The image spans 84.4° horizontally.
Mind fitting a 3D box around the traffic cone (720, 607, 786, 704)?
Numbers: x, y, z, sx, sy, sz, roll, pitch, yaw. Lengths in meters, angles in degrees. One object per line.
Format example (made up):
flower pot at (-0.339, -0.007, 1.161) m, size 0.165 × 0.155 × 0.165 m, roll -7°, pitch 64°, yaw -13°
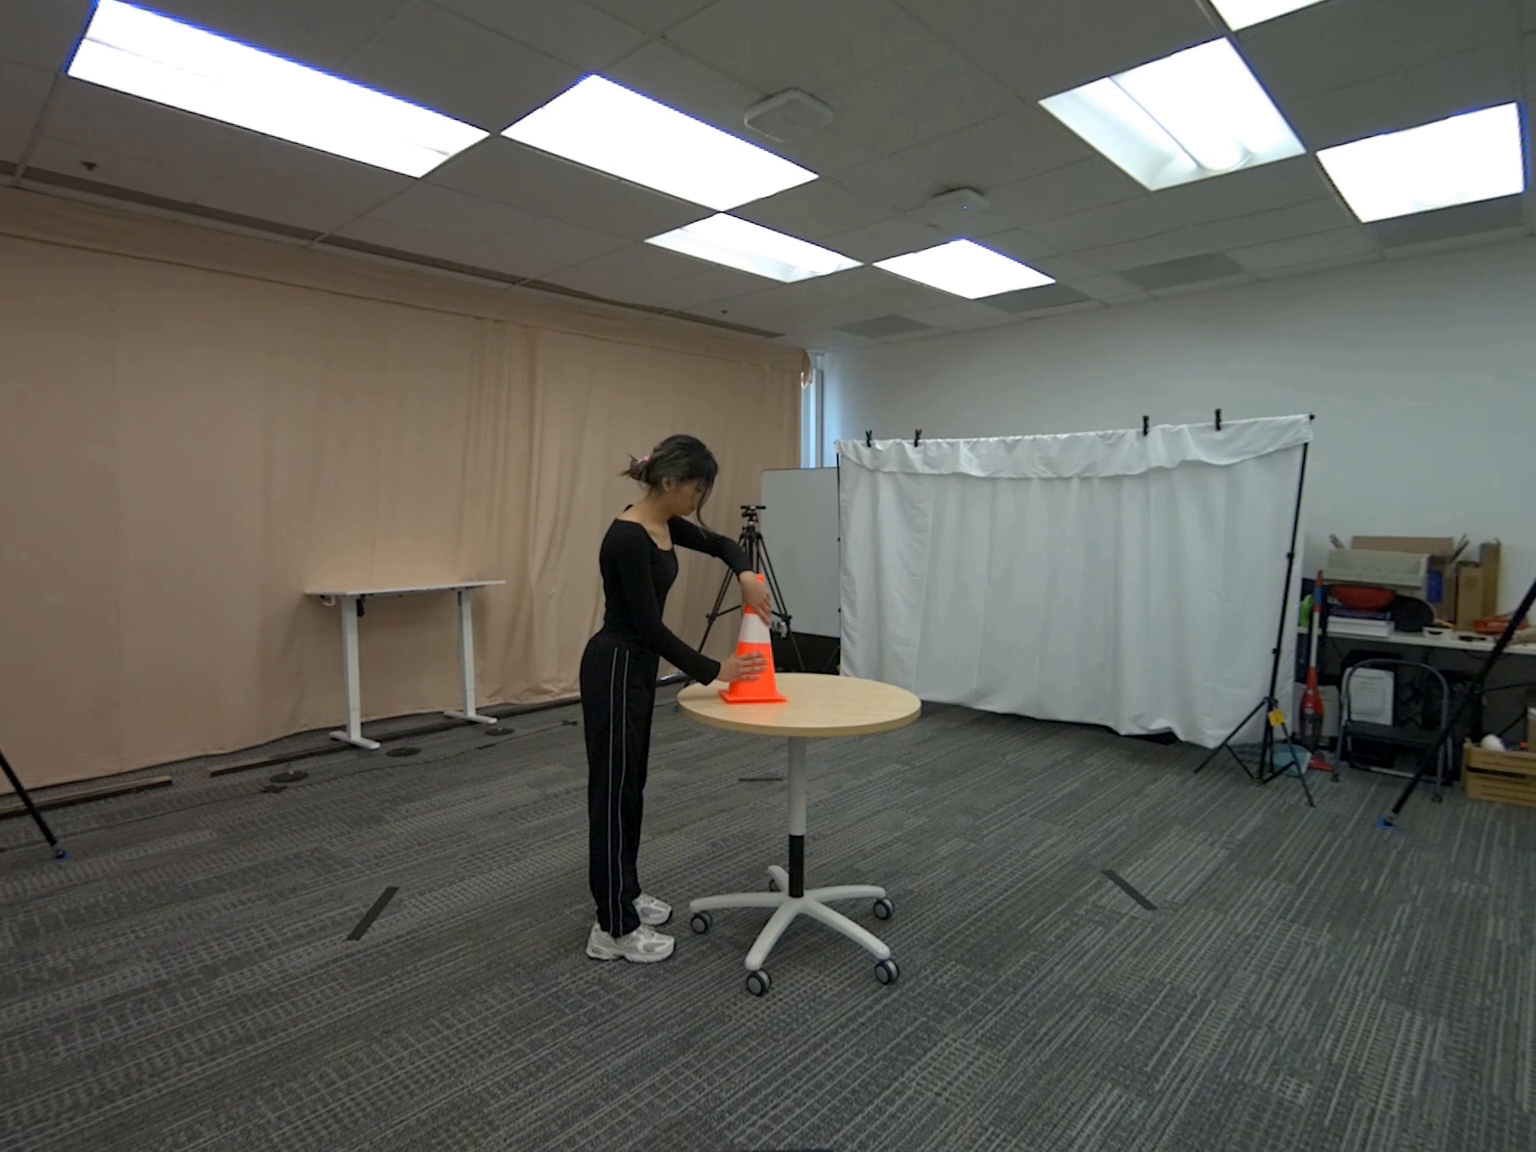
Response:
traffic cone at (-0.040, 0.191, 2.661) m, size 0.201 × 0.383 × 0.207 m, roll 2°, pitch 1°, yaw -11°
